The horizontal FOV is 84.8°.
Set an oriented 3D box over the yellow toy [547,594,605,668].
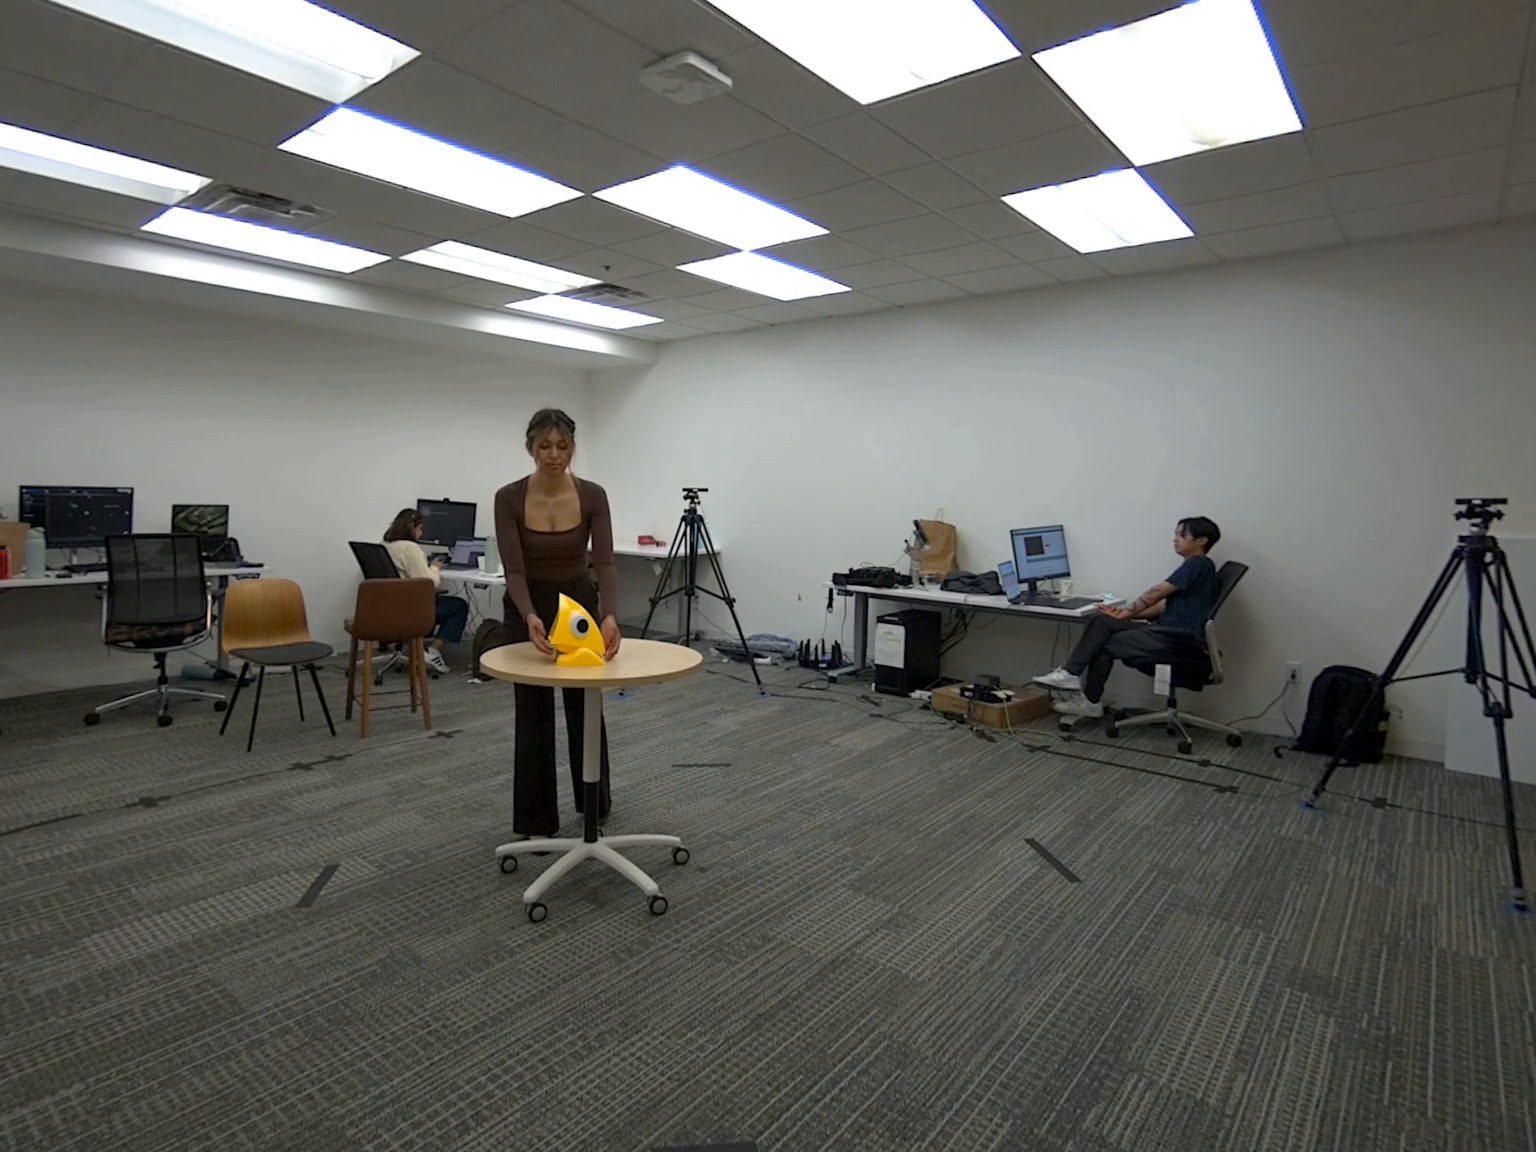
[{"bbox_3d":[-0.659,0.171,2.870,0.190,0.230,0.208,1,4,-13],"label":"yellow toy"}]
